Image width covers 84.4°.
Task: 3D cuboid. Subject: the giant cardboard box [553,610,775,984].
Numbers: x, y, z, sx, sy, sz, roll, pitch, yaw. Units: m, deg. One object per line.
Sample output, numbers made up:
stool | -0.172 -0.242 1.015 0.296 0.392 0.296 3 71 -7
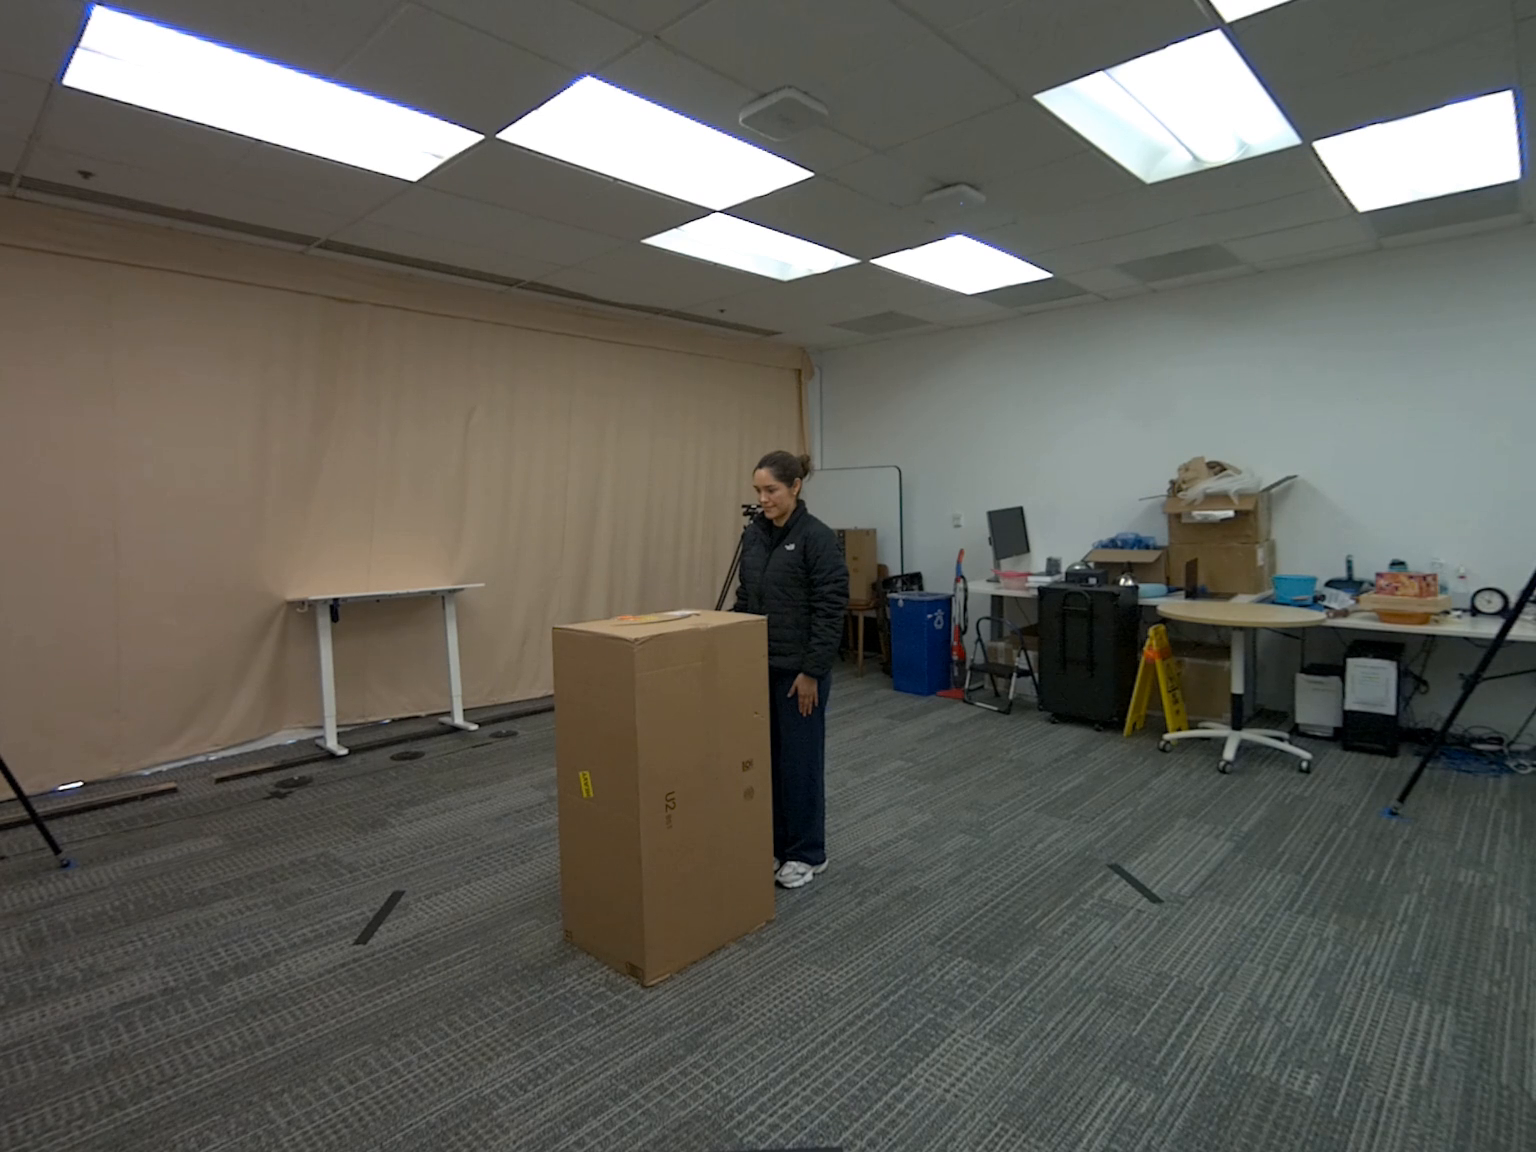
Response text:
giant cardboard box | -0.323 0.654 2.759 0.461 1.025 0.566 1 3 44
